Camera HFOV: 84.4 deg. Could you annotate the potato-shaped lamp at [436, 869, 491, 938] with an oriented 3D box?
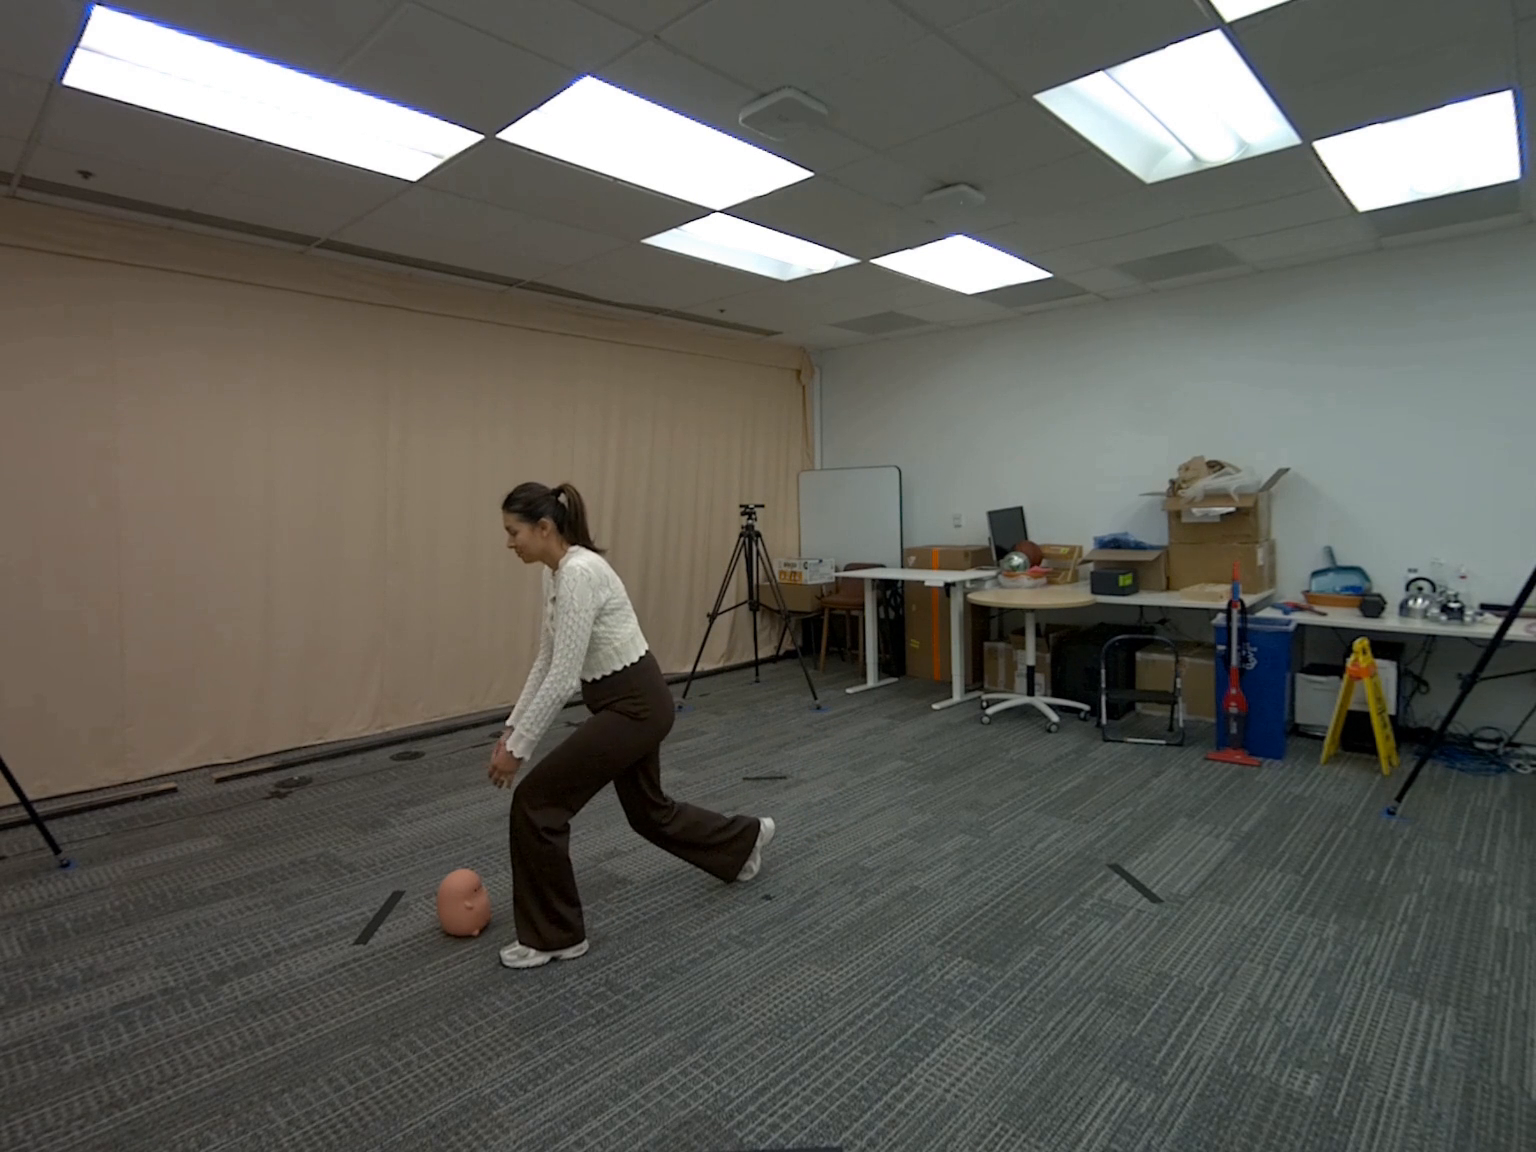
[{"bbox_3d":[-1.011,1.076,2.801,0.173,0.198,0.163,-1,1,9],"label":"potato-shaped lamp"}]
